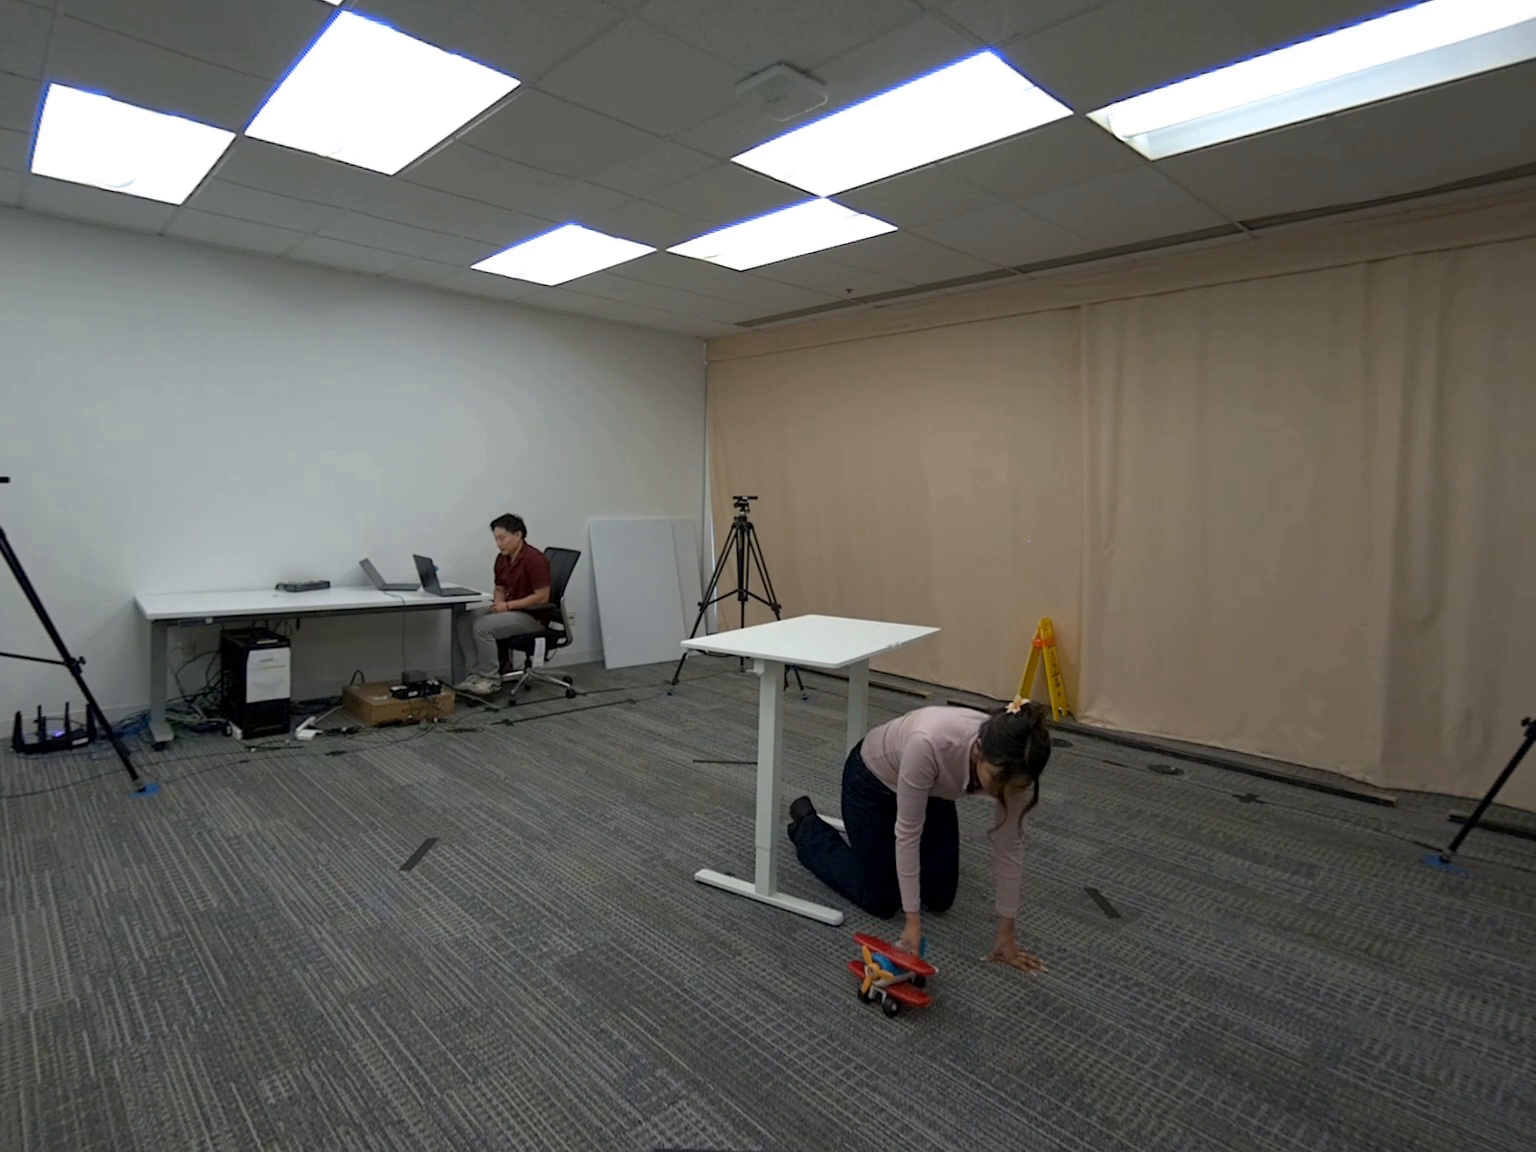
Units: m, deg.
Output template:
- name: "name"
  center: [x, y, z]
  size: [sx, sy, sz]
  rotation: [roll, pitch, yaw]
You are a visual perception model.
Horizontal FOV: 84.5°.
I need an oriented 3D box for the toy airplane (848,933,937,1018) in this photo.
- name: "toy airplane"
  center: [0.333, 1.110, 2.373]
  size: [0.254, 0.156, 0.257]
  rotation: [4, 7, 15]
